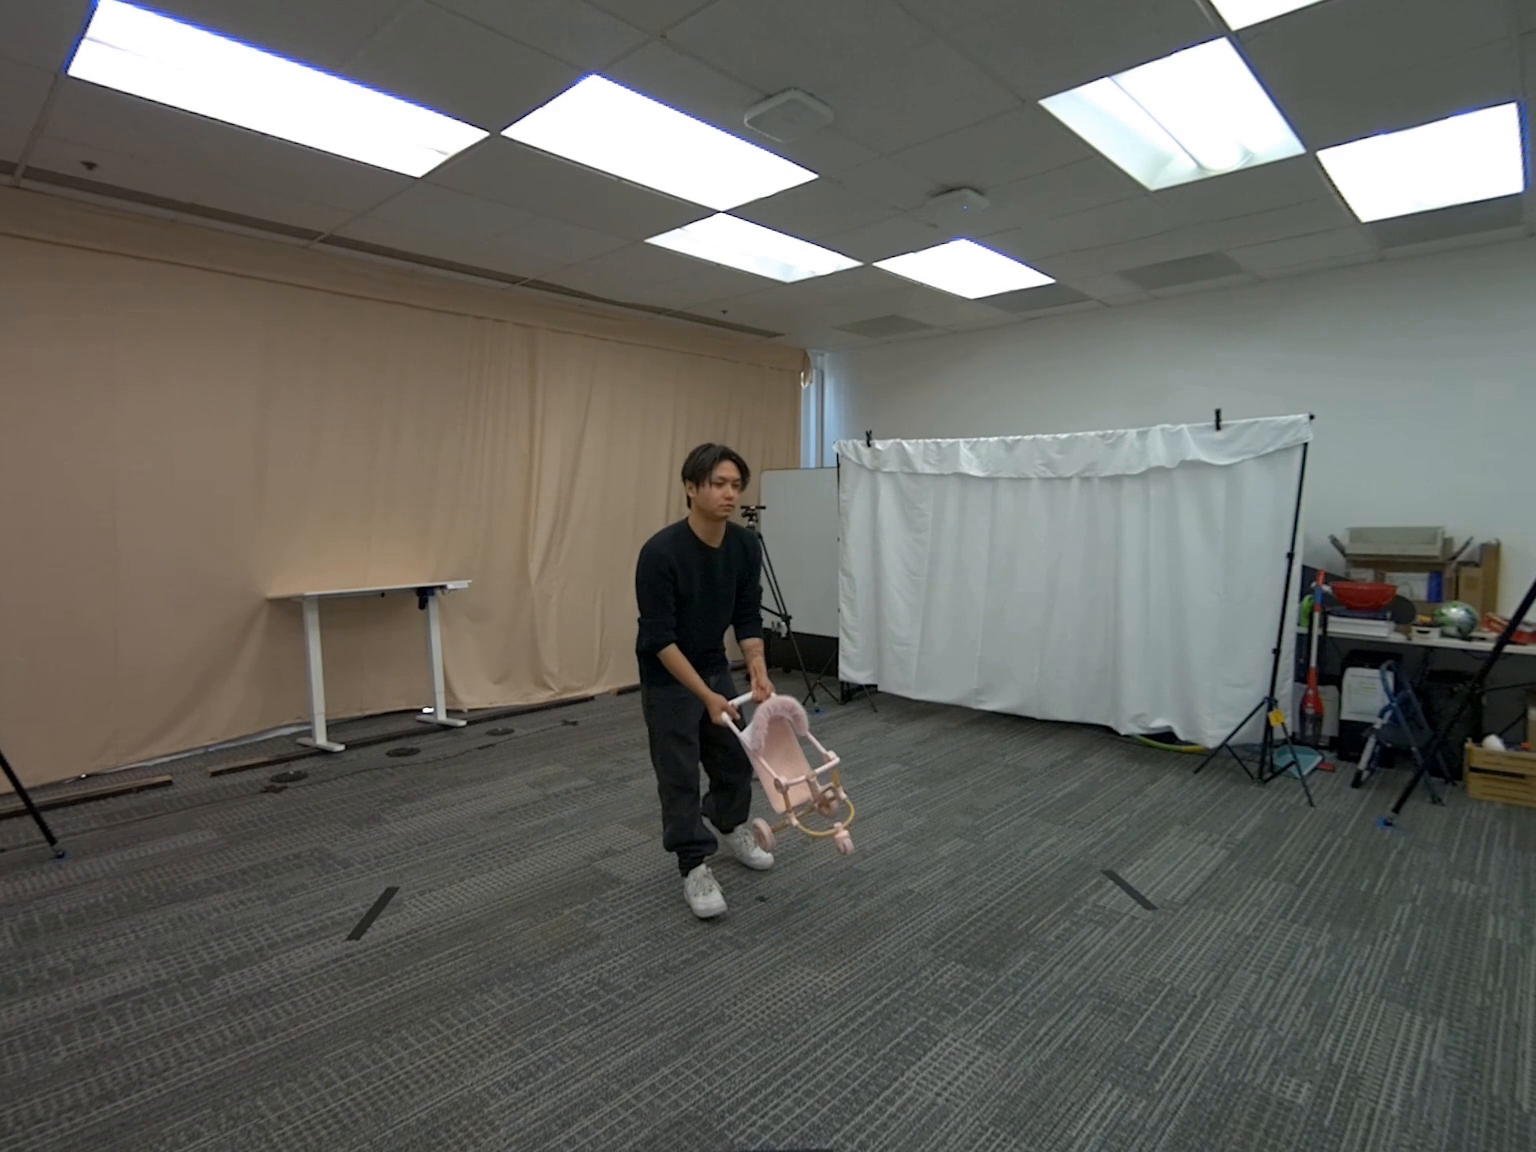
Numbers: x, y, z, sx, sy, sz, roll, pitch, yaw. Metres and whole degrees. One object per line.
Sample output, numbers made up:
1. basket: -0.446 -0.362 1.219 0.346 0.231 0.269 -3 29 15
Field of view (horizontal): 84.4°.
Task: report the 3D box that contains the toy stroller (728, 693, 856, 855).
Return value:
1. toy stroller: 0.085 0.606 2.589 0.276 0.539 0.345 -17 -8 -26
